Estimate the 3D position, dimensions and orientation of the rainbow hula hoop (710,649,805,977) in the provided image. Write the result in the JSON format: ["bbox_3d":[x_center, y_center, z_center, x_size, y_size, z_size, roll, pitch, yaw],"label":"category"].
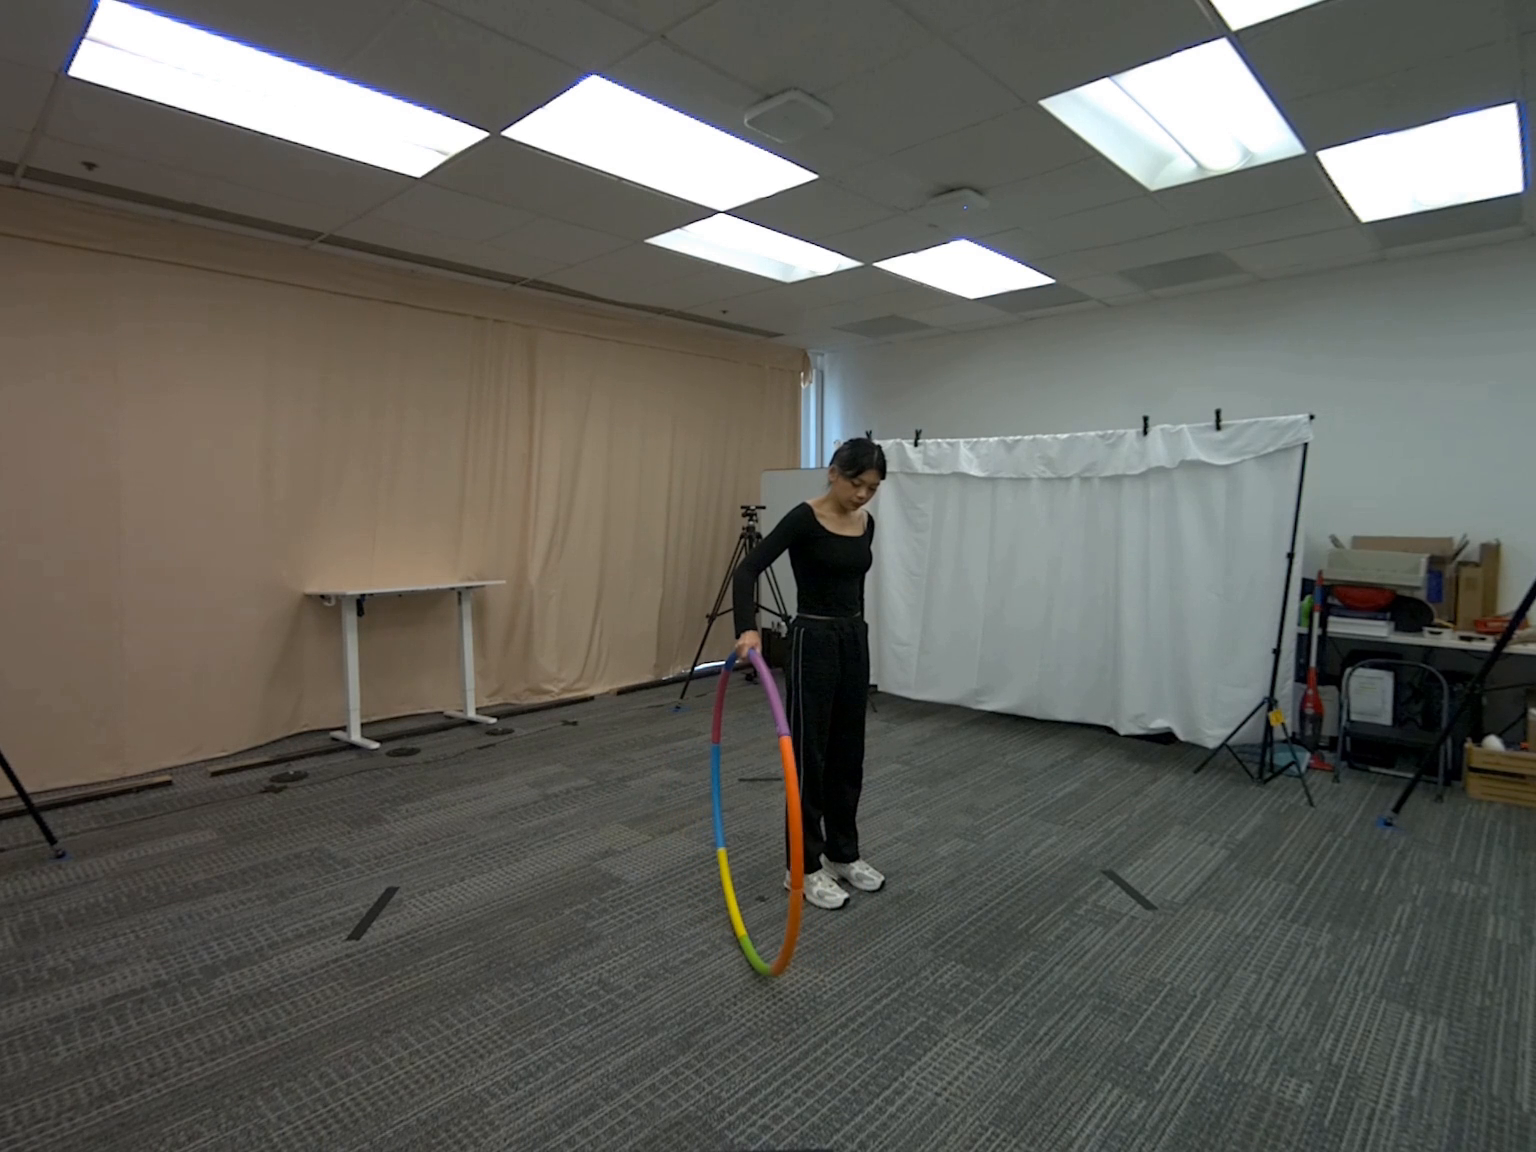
[{"bbox_3d":[-0.055,0.695,2.607,0.035,0.977,0.995,0,4,-15],"label":"rainbow hula hoop"}]
